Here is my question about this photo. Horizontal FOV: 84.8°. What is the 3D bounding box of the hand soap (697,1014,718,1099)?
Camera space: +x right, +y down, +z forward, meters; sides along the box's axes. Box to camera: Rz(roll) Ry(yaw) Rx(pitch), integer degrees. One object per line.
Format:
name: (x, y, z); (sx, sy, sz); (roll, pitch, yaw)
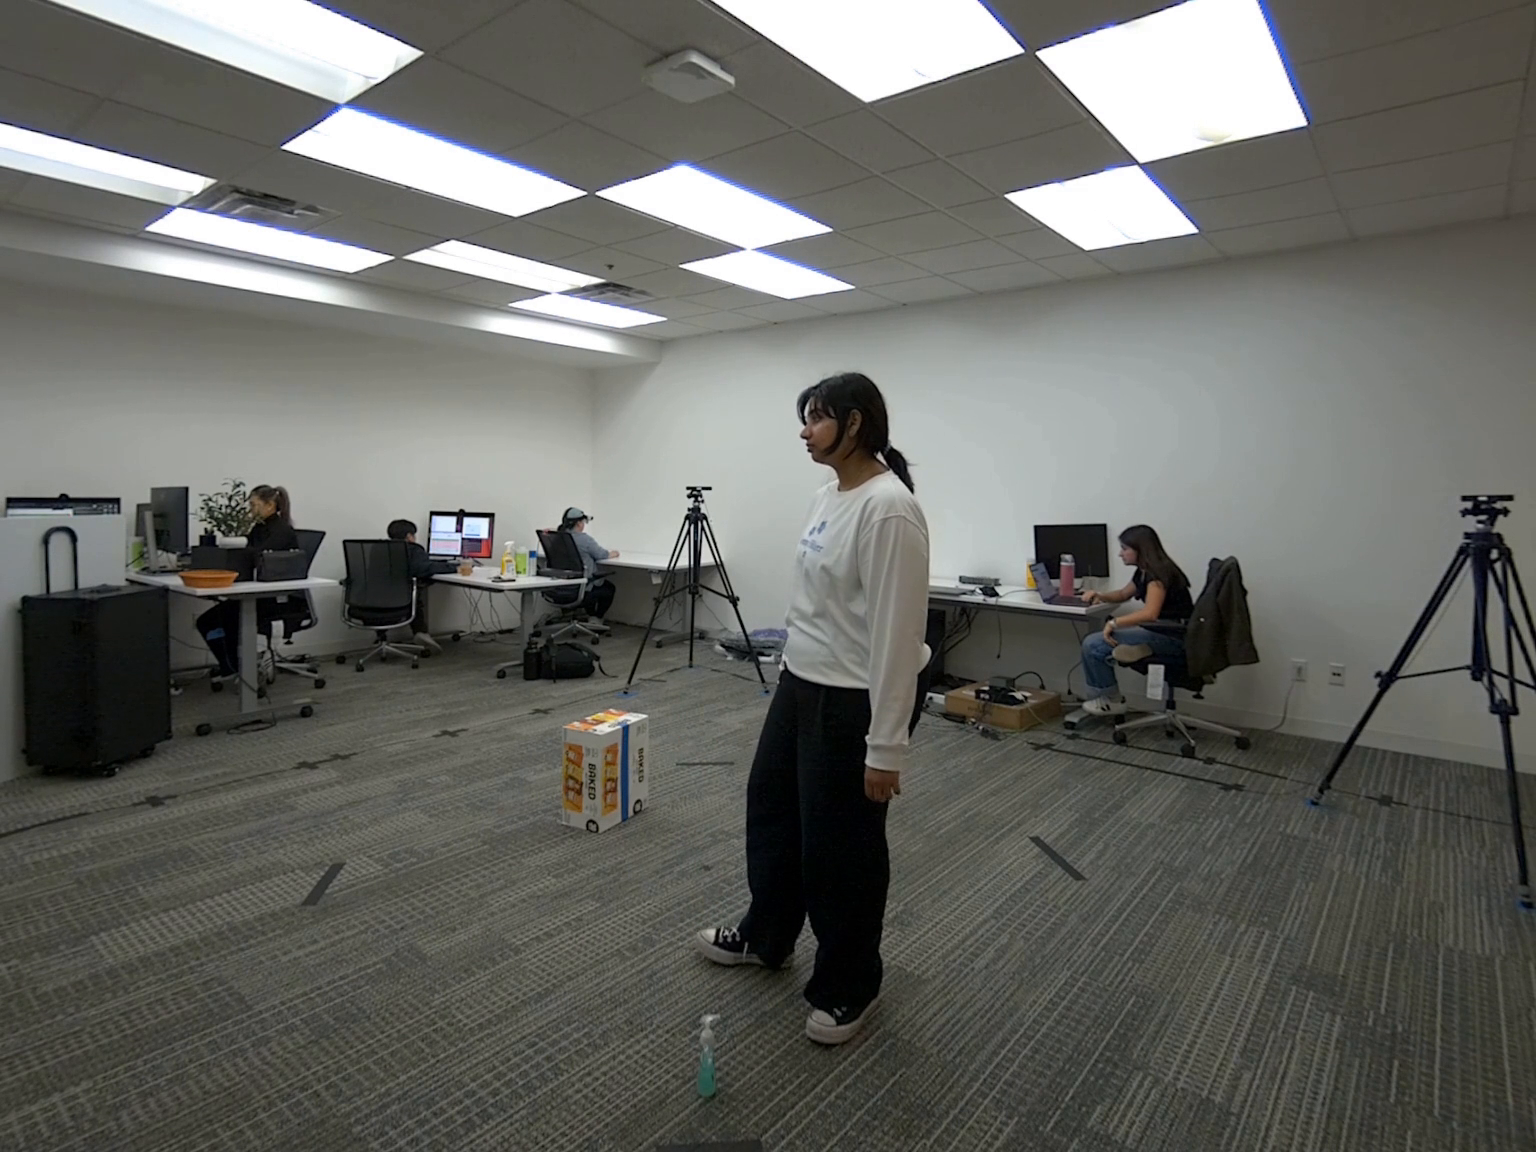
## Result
hand soap: (-0.141, 1.101, 1.965); (0.043, 0.168, 0.085); (2, 2, -2)
